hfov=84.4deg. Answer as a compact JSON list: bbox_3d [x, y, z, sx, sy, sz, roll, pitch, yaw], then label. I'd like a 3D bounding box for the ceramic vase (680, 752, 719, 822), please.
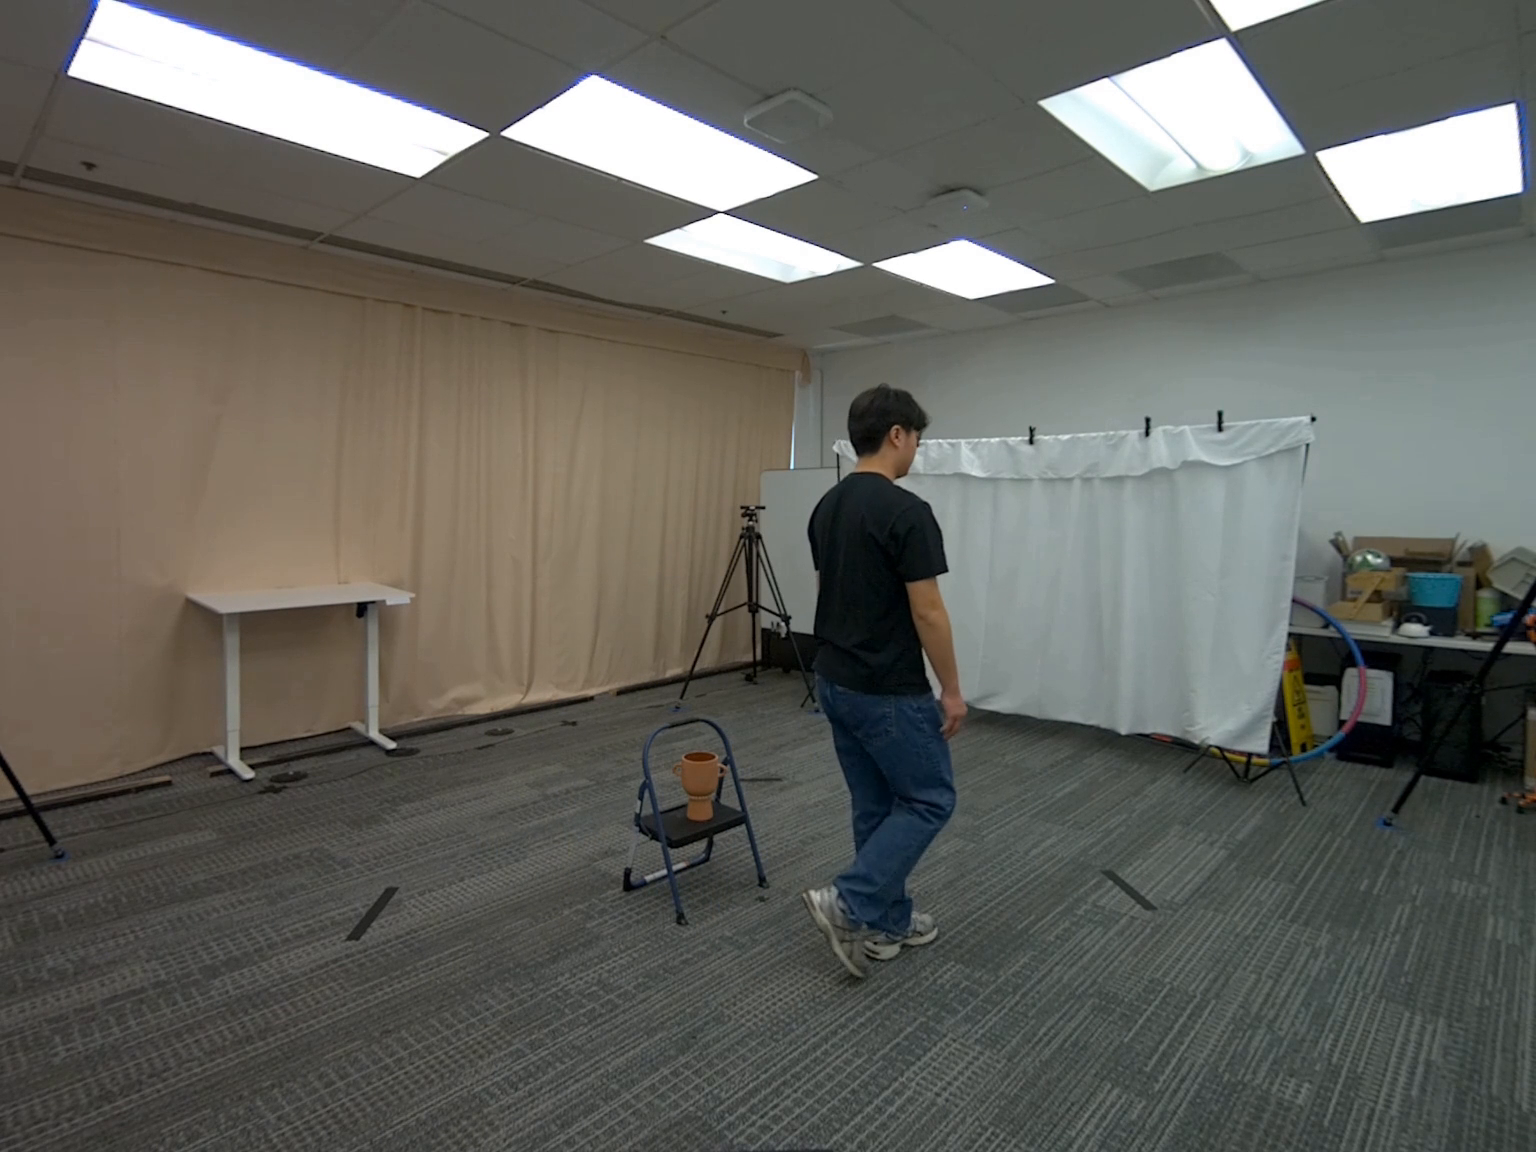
[{"bbox_3d":[-0.244,0.767,3.072,0.164,0.219,0.131,3,5,37],"label":"ceramic vase"}]
